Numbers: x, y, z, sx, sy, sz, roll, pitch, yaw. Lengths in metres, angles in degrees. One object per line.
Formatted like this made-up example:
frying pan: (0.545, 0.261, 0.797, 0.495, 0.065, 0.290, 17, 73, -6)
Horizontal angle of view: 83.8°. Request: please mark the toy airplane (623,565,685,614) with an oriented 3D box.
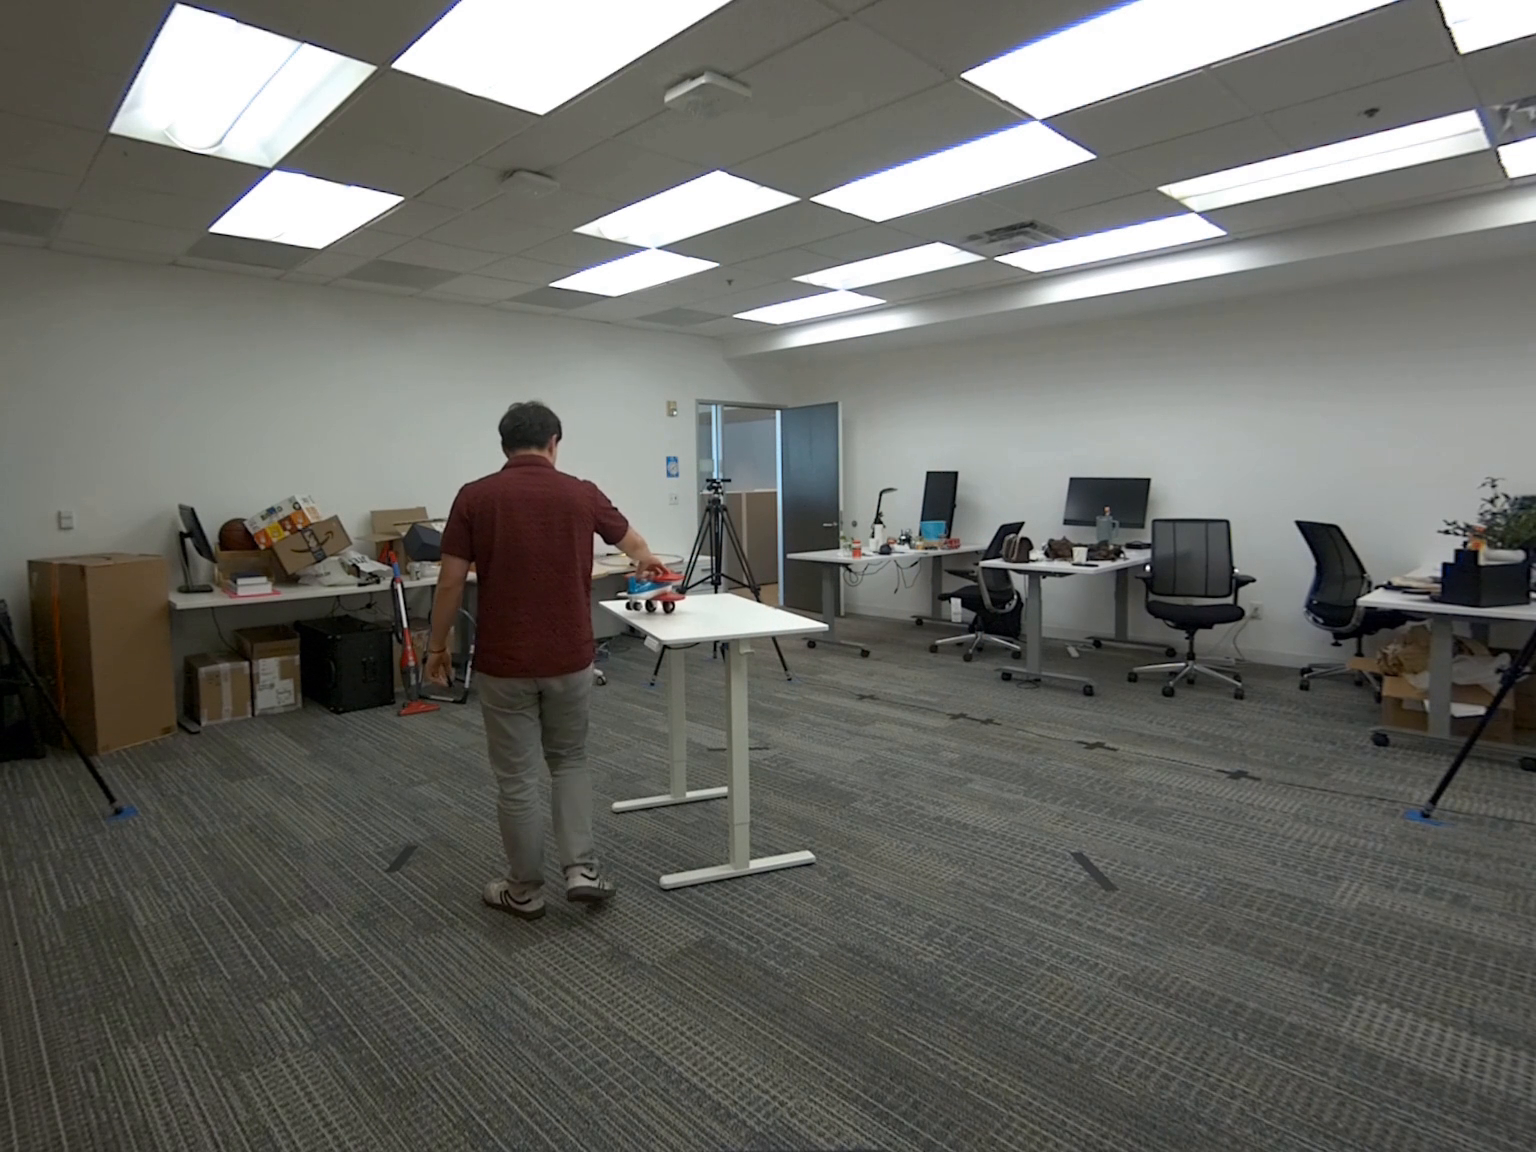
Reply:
toy airplane: (-0.438, 0.063, 3.276, 0.251, 0.157, 0.258, 3, -4, 0)
